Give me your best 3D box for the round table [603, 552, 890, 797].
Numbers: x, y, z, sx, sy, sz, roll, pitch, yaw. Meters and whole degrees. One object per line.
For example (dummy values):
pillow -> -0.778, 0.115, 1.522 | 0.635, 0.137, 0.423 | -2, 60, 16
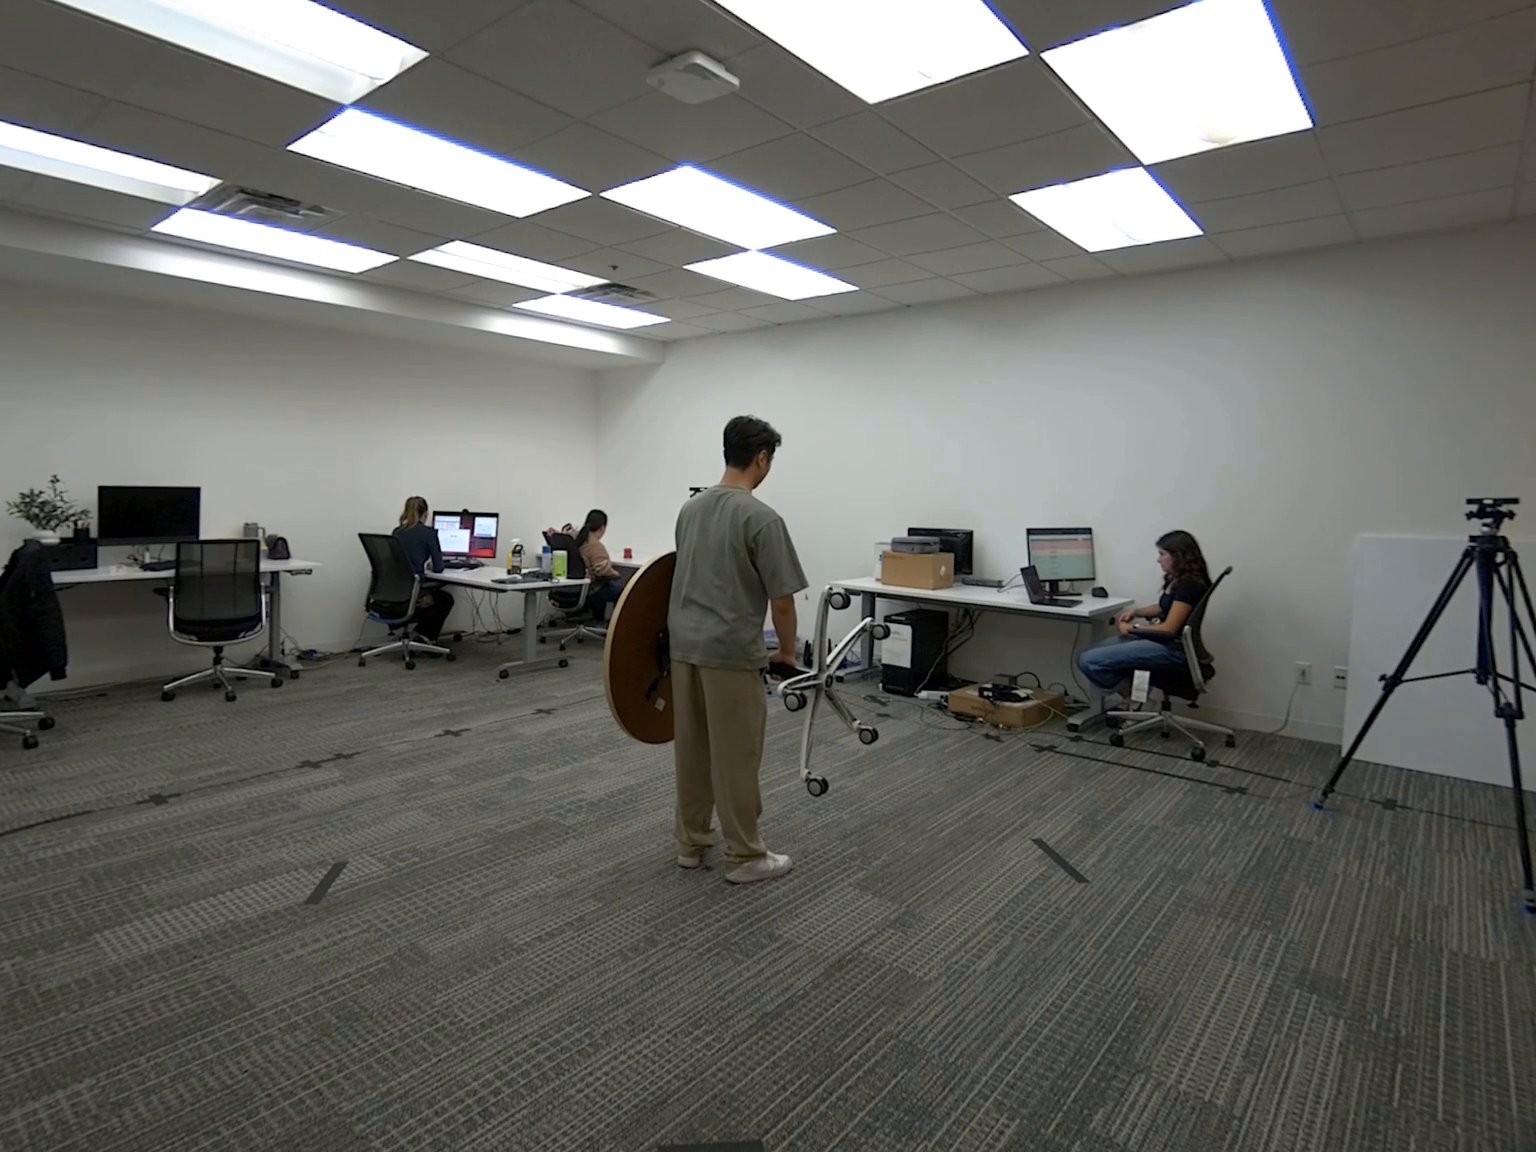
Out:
round table -> -0.057, 0.330, 3.146 | 0.812, 0.781, 0.764 | 8, 7, 32
